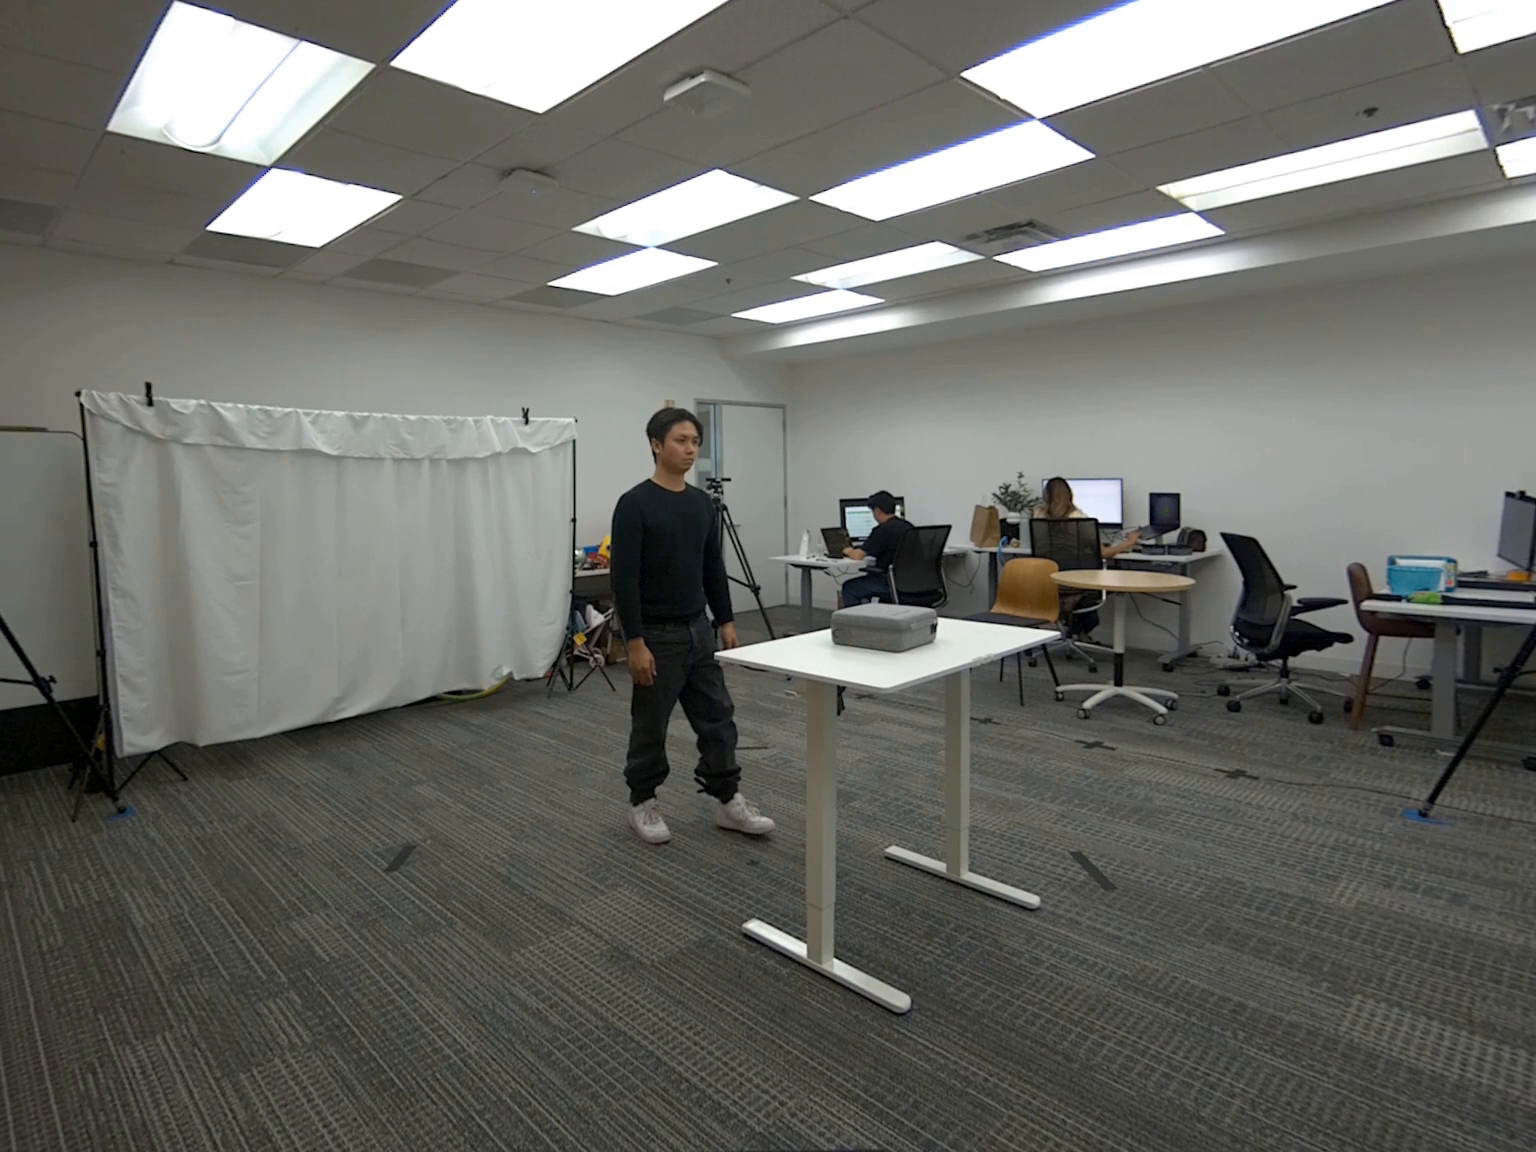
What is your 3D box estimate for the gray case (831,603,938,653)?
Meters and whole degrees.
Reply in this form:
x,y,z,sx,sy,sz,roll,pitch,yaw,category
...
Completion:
x,y,z,sx,sy,sz,roll,pitch,yaw,category
0.359,0.153,2.631,0.268,0.104,0.250,3,8,38,gray case
